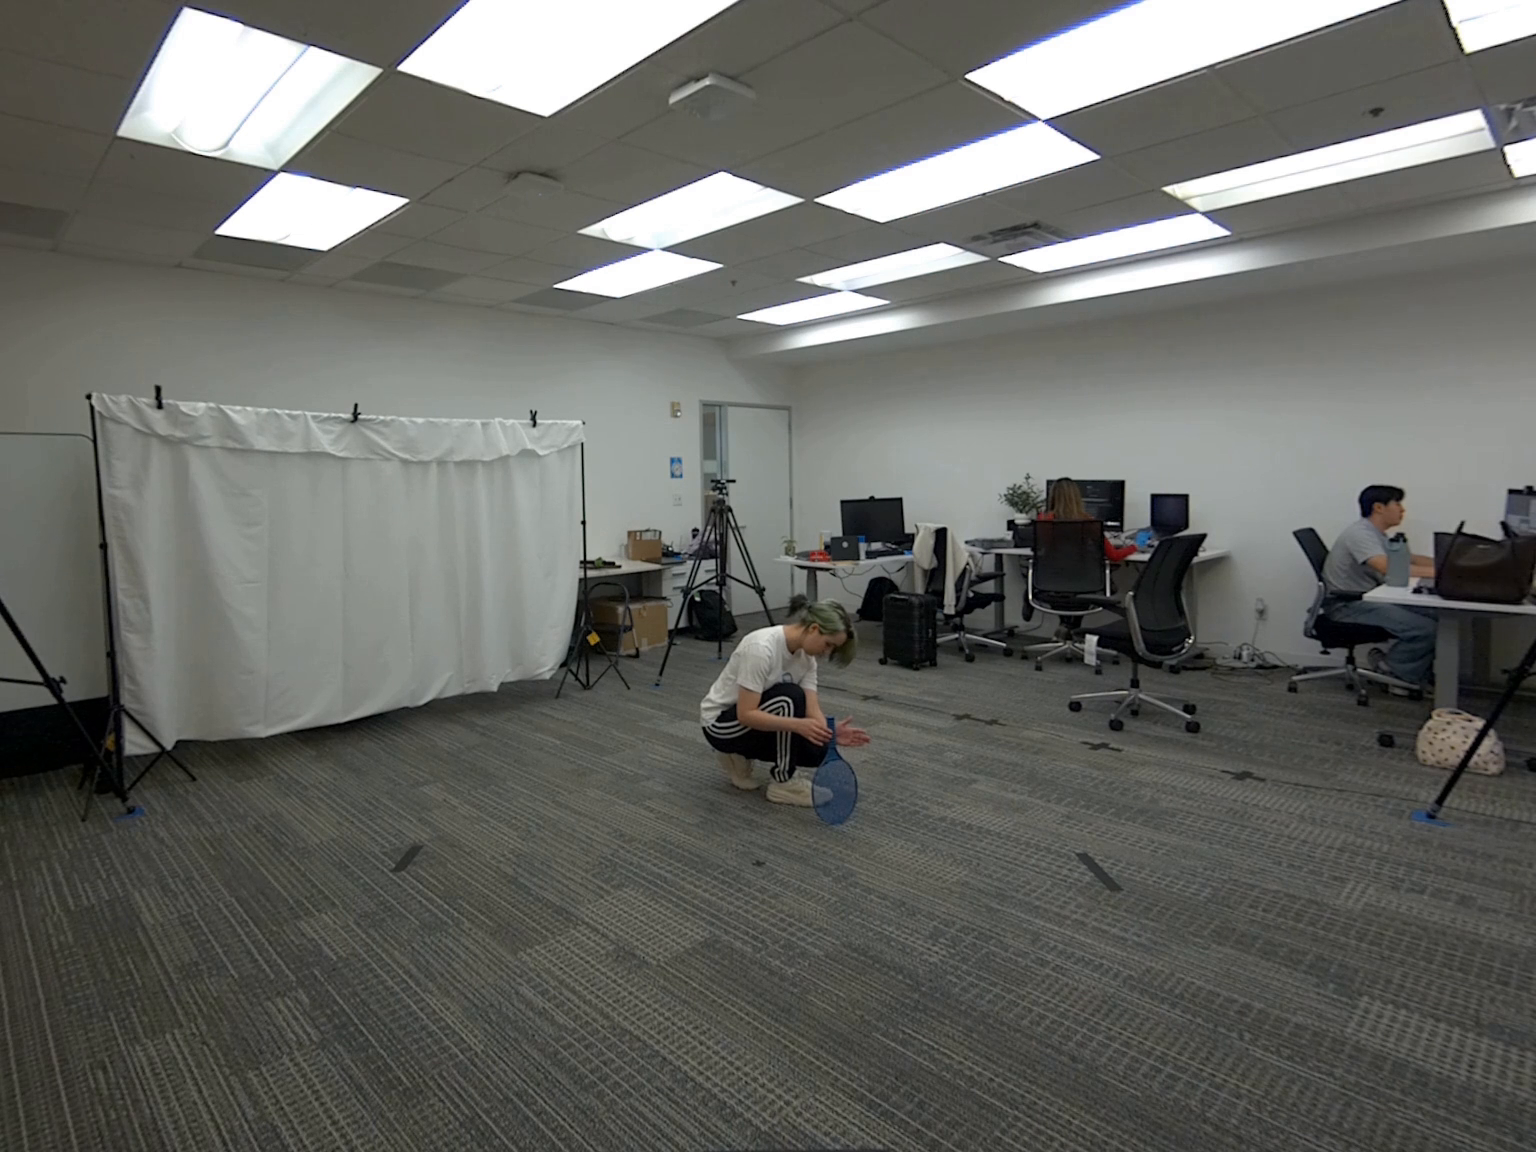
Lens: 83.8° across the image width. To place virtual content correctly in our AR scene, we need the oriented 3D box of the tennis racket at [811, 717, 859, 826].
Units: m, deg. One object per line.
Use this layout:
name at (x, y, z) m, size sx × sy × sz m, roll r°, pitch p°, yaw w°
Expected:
tennis racket at (0.270, 0.787, 3.455) m, size 0.209 × 0.432 × 0.032 m, roll -3°, pitch 1°, yaw -24°
